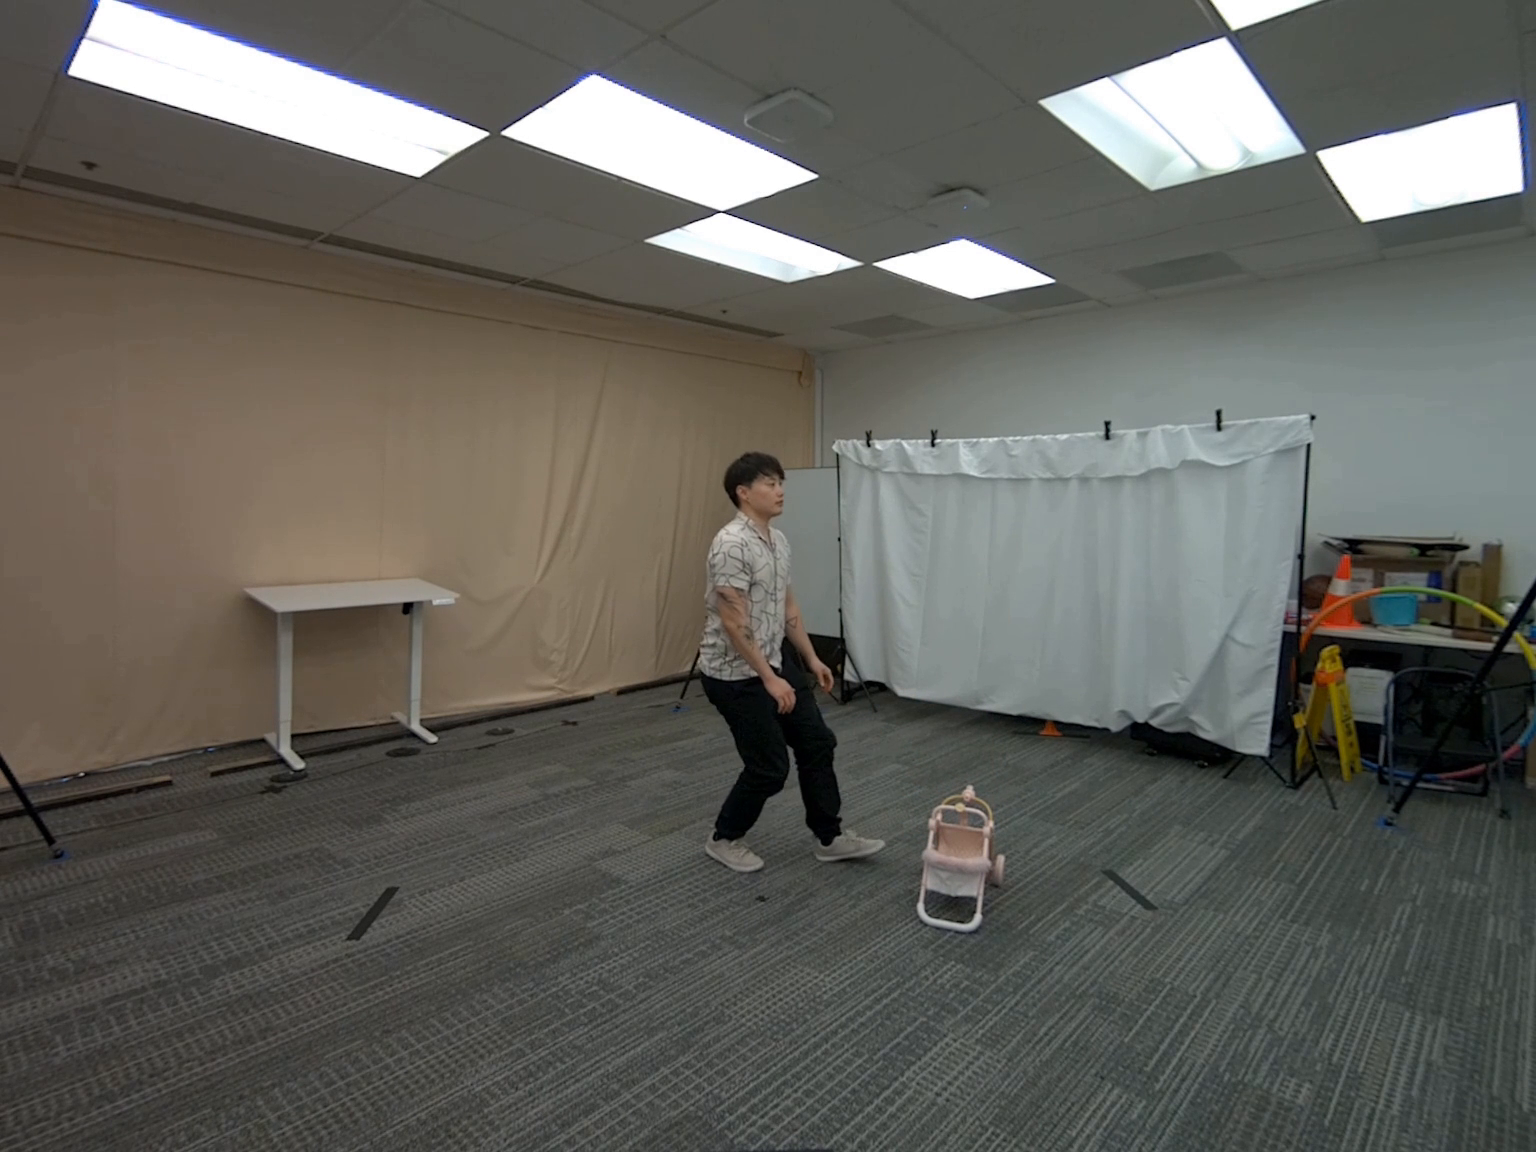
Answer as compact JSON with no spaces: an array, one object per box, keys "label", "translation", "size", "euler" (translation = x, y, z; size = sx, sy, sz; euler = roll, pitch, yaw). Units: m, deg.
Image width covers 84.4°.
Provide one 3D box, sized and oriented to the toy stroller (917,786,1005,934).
[{"label":"toy stroller","translation":[0.692,0.980,2.989],"size":[0.288,0.340,0.523],"euler":[6,5,23]}]
